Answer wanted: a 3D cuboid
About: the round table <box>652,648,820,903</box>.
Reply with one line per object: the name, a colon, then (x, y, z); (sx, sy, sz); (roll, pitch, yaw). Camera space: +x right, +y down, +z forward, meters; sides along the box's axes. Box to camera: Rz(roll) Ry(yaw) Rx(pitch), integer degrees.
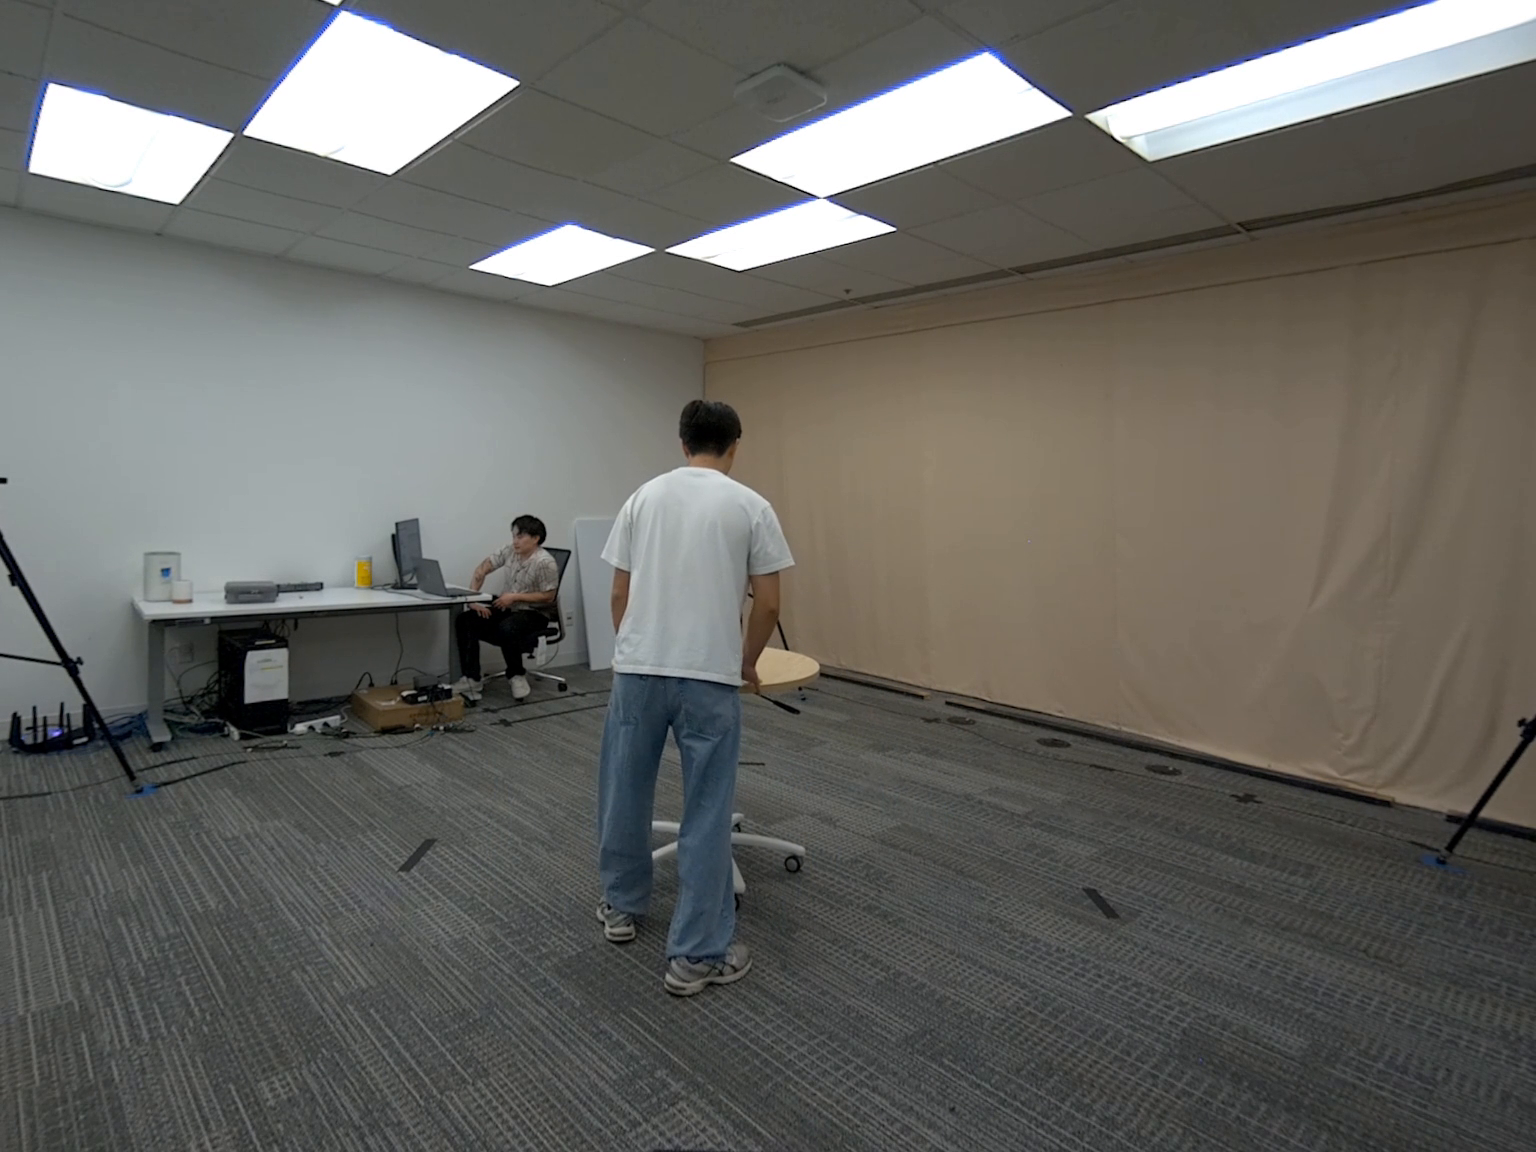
round table: (-0.206, 0.716, 3.141); (0.763, 0.792, 0.766); (1, 4, -1)
